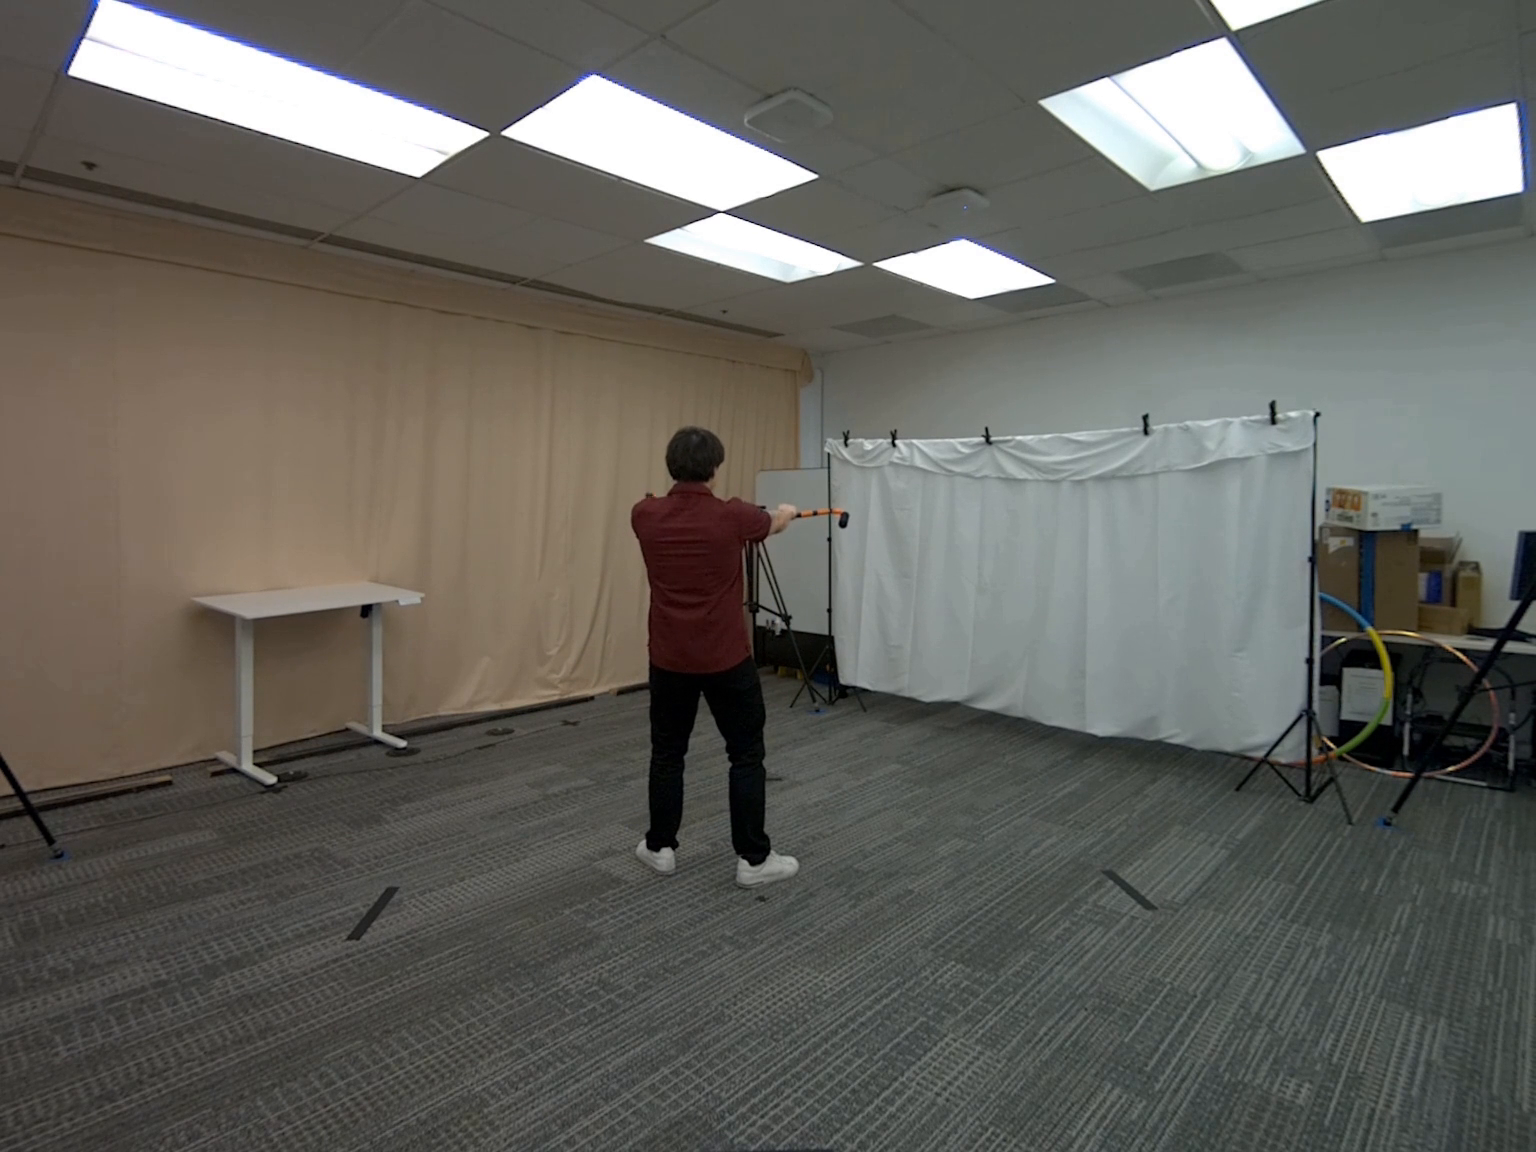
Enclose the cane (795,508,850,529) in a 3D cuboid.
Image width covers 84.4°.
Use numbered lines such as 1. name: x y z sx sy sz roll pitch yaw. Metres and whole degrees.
1. cane: -0.099 -0.252 3.631 0.921 0.149 0.207 1 24 13
